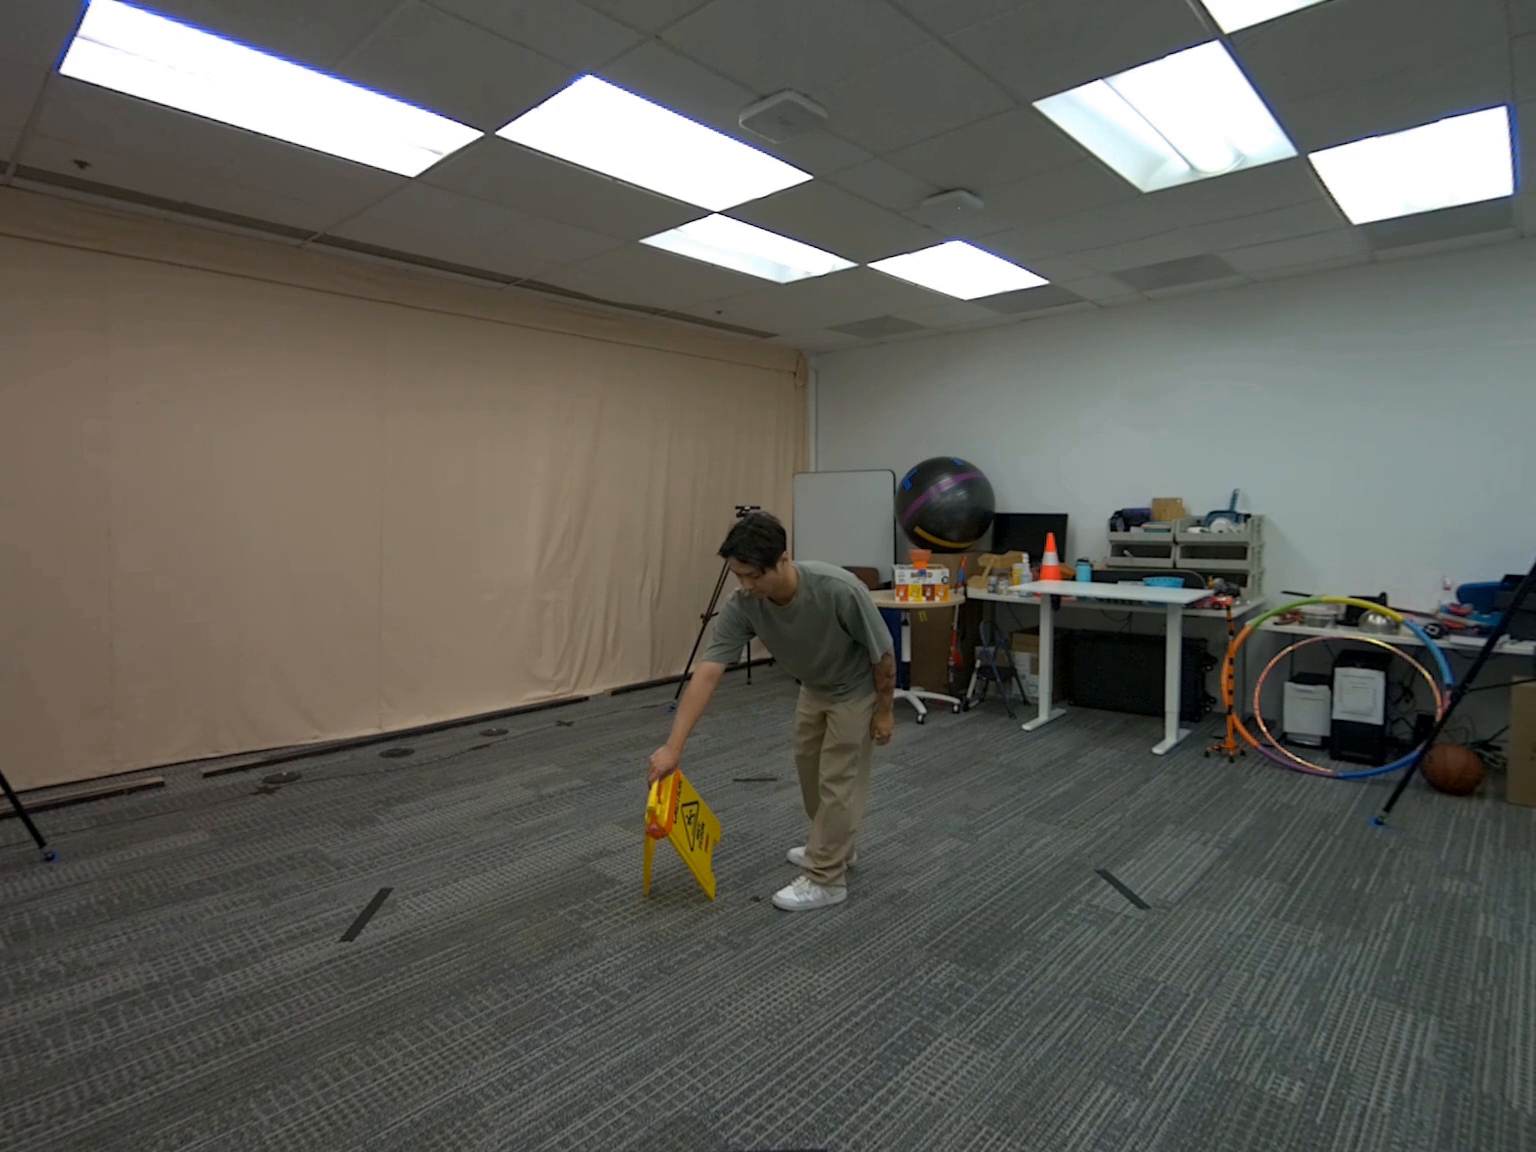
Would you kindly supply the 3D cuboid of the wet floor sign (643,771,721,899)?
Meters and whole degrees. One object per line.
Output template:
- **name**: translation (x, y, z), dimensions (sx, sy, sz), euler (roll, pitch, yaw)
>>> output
- **wet floor sign**: translation (-0.334, 0.832, 2.859), dimensions (0.292, 0.632, 0.286), euler (2, 47, 7)
